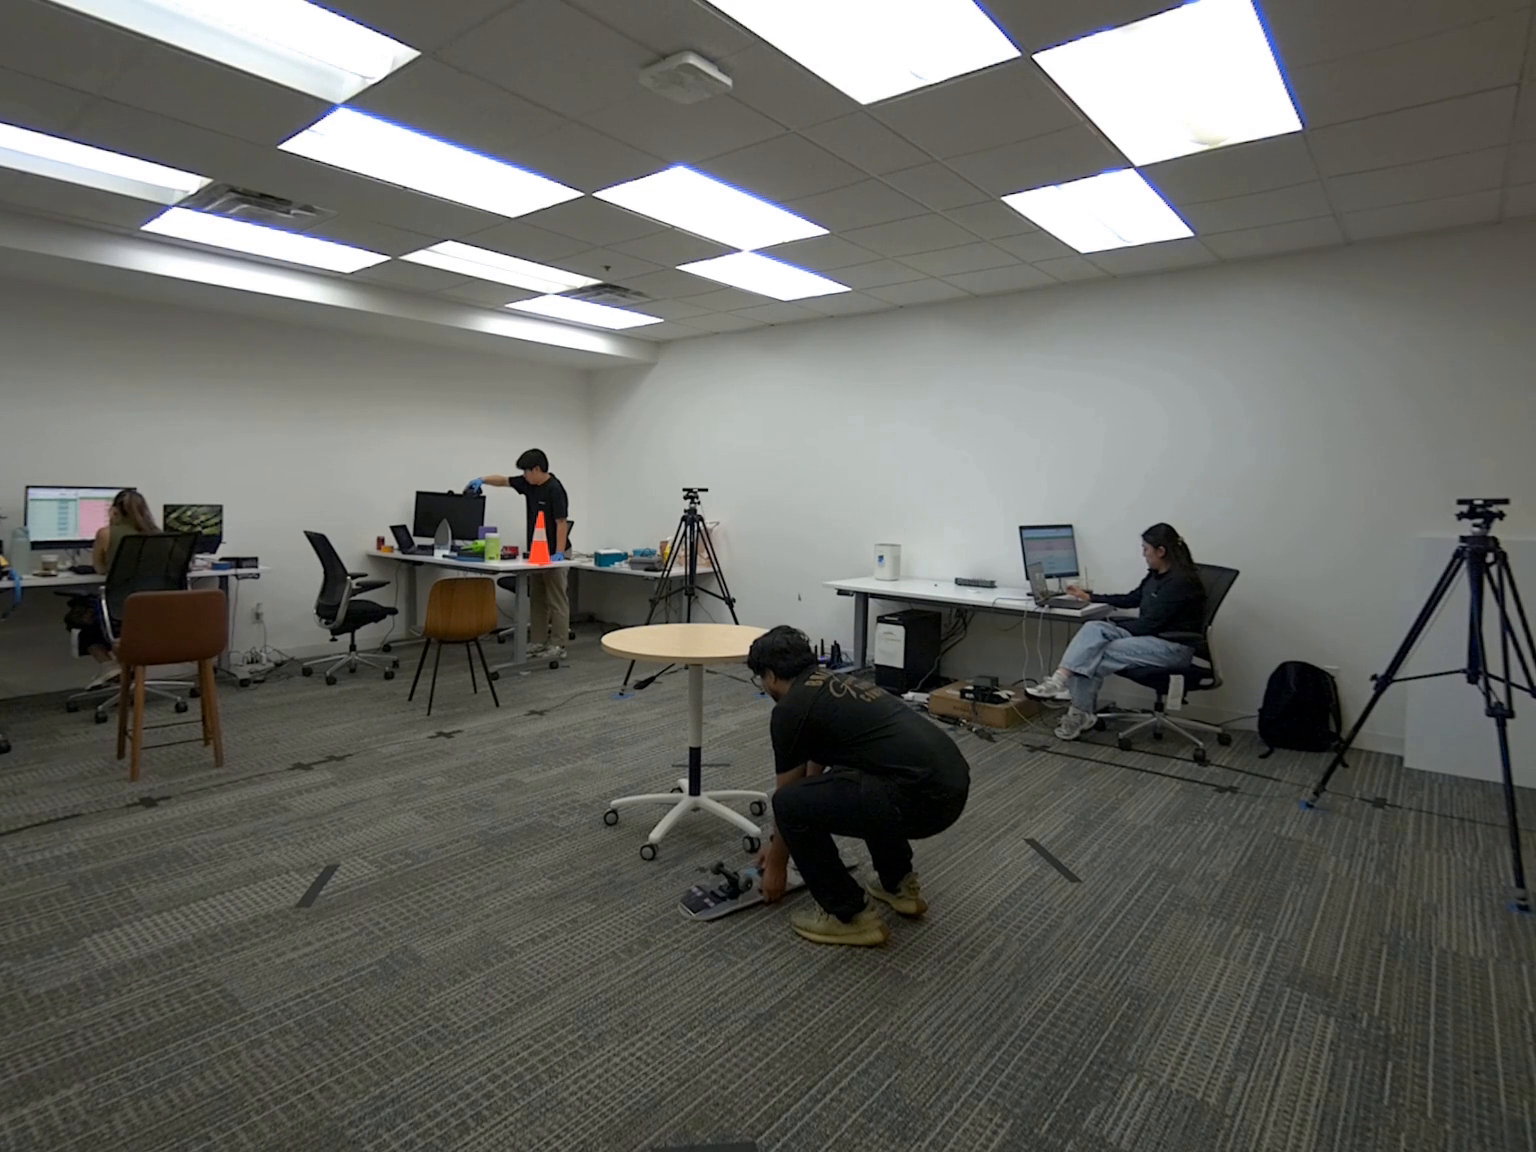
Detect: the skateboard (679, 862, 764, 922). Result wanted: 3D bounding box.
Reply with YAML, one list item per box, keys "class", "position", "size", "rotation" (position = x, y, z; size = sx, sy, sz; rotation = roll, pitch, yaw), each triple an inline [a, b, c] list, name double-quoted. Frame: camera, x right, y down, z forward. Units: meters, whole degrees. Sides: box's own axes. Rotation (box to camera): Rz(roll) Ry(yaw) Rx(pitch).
- class: "skateboard"
  position: [0.019, 1.032, 3.002]
  size: [0.762, 0.110, 0.200]
  rotation: [-3, 9, -41]
